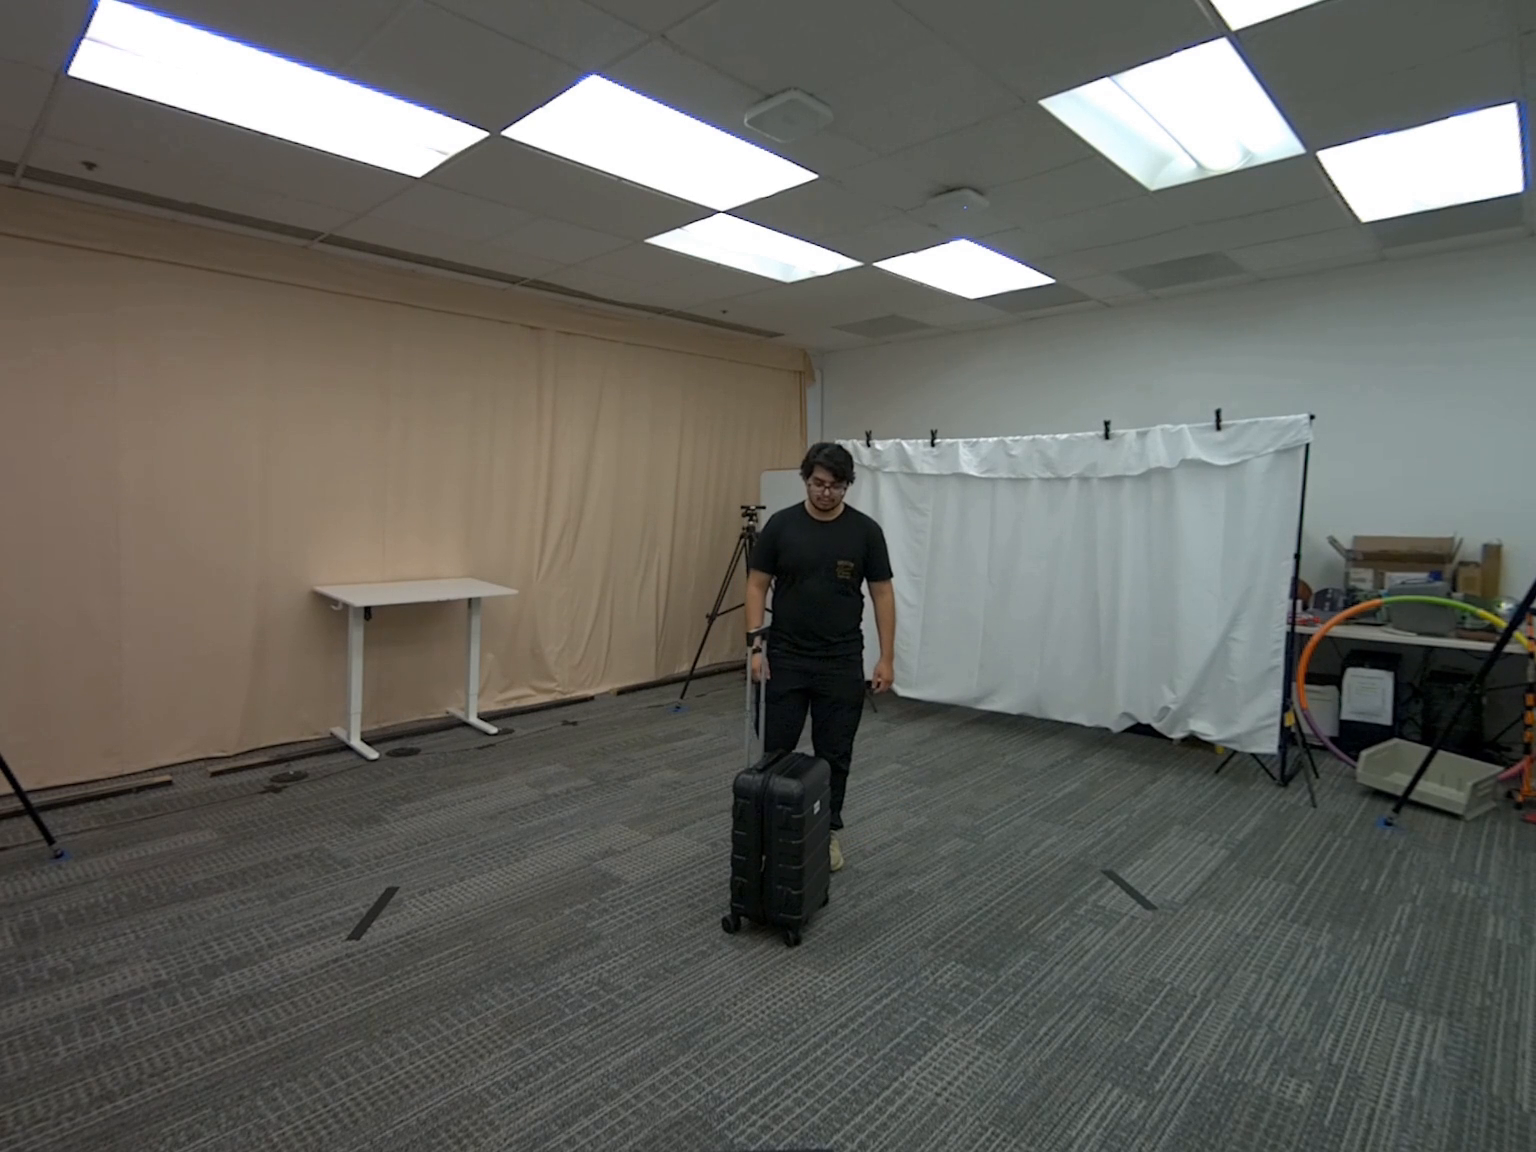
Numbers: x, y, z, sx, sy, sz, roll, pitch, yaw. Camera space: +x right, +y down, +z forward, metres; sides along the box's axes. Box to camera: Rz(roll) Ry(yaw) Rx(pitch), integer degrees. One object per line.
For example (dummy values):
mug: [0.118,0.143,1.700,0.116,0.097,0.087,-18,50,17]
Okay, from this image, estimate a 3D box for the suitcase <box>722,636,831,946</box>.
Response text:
suitcase: [0.058,0.682,2.804,0.263,0.976,0.376,5,5,20]
